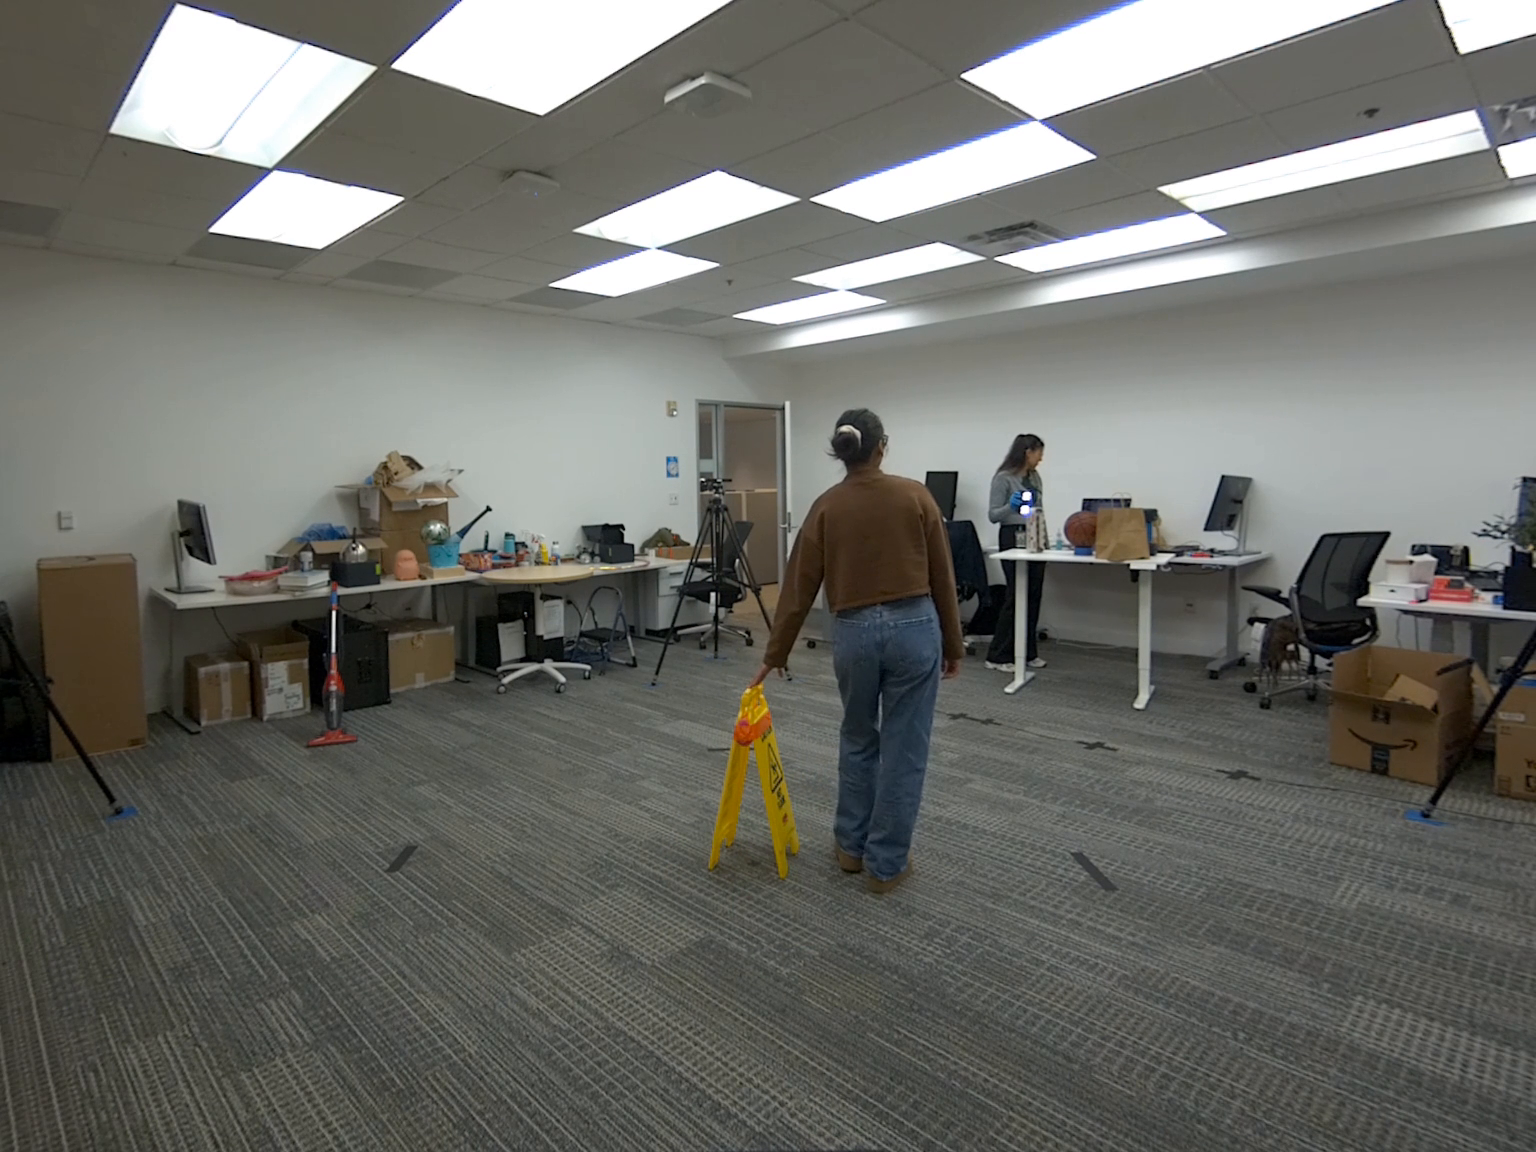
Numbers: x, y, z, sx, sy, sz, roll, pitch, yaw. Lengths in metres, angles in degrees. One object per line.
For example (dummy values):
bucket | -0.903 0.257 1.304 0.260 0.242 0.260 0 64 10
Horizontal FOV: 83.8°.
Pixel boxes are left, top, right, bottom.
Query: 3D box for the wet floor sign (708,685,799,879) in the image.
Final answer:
wet floor sign | -0.051 0.717 3.129 0.294 0.645 0.278 -1 2 17
